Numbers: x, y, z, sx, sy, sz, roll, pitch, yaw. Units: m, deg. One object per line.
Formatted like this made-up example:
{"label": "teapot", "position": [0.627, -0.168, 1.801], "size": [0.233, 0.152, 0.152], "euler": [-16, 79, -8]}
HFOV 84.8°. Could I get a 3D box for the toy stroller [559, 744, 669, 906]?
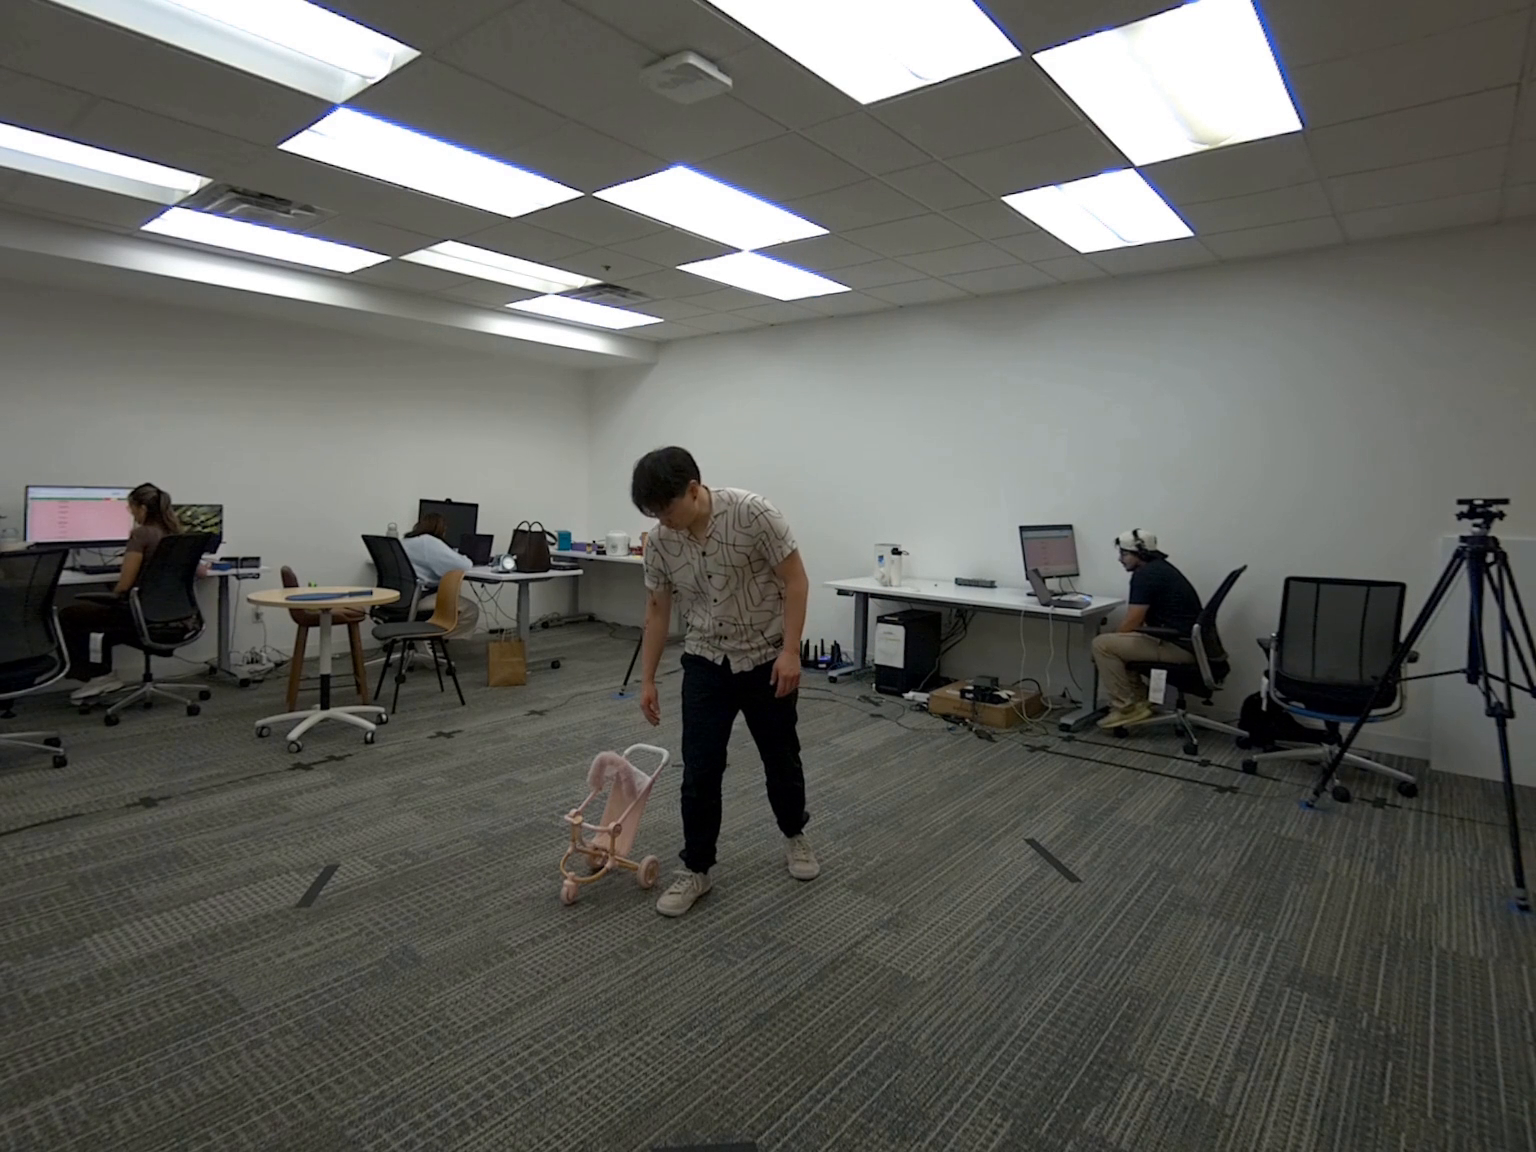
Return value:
{"label": "toy stroller", "position": [-0.565, 0.854, 2.975], "size": [0.291, 0.539, 0.328], "euler": [3, -11, 39]}
